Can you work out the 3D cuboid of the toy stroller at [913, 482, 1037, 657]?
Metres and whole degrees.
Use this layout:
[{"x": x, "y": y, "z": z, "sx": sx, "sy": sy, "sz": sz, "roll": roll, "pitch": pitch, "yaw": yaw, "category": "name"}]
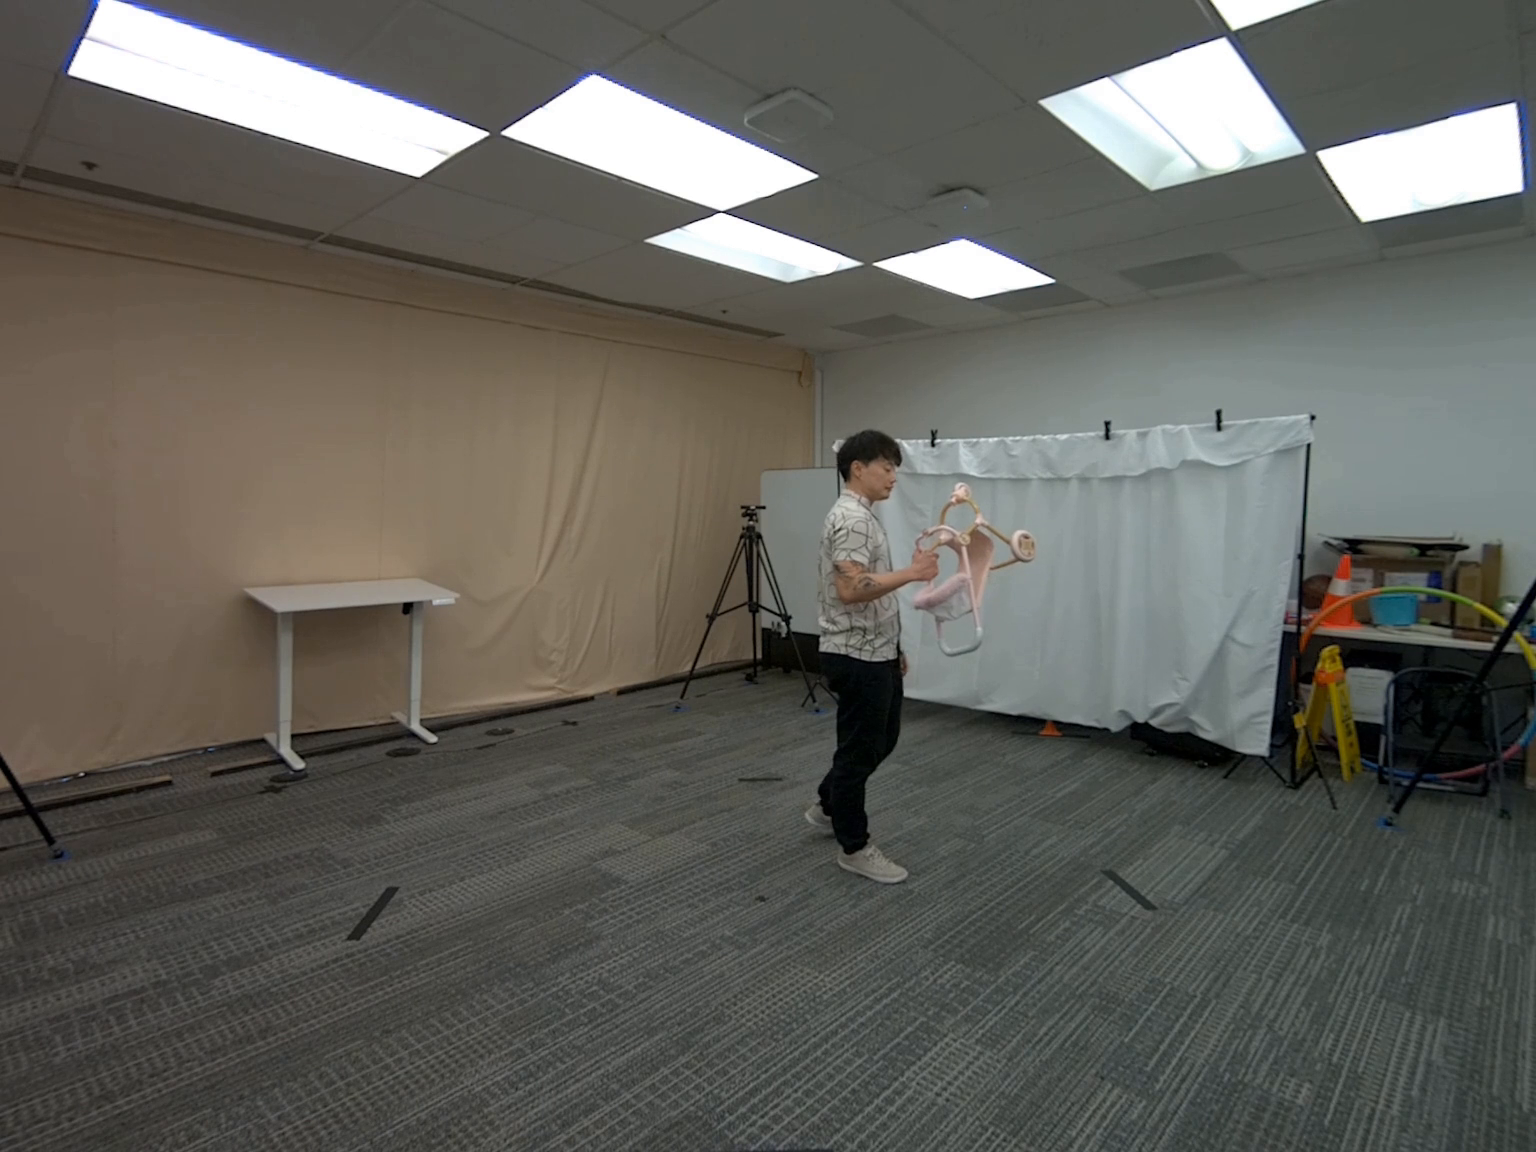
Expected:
[{"x": 0.659, "y": -0.034, "z": 2.846, "sx": 0.532, "sy": 0.336, "sz": 0.287, "roll": -52, "pitch": 15, "yaw": -28, "category": "toy stroller"}]
